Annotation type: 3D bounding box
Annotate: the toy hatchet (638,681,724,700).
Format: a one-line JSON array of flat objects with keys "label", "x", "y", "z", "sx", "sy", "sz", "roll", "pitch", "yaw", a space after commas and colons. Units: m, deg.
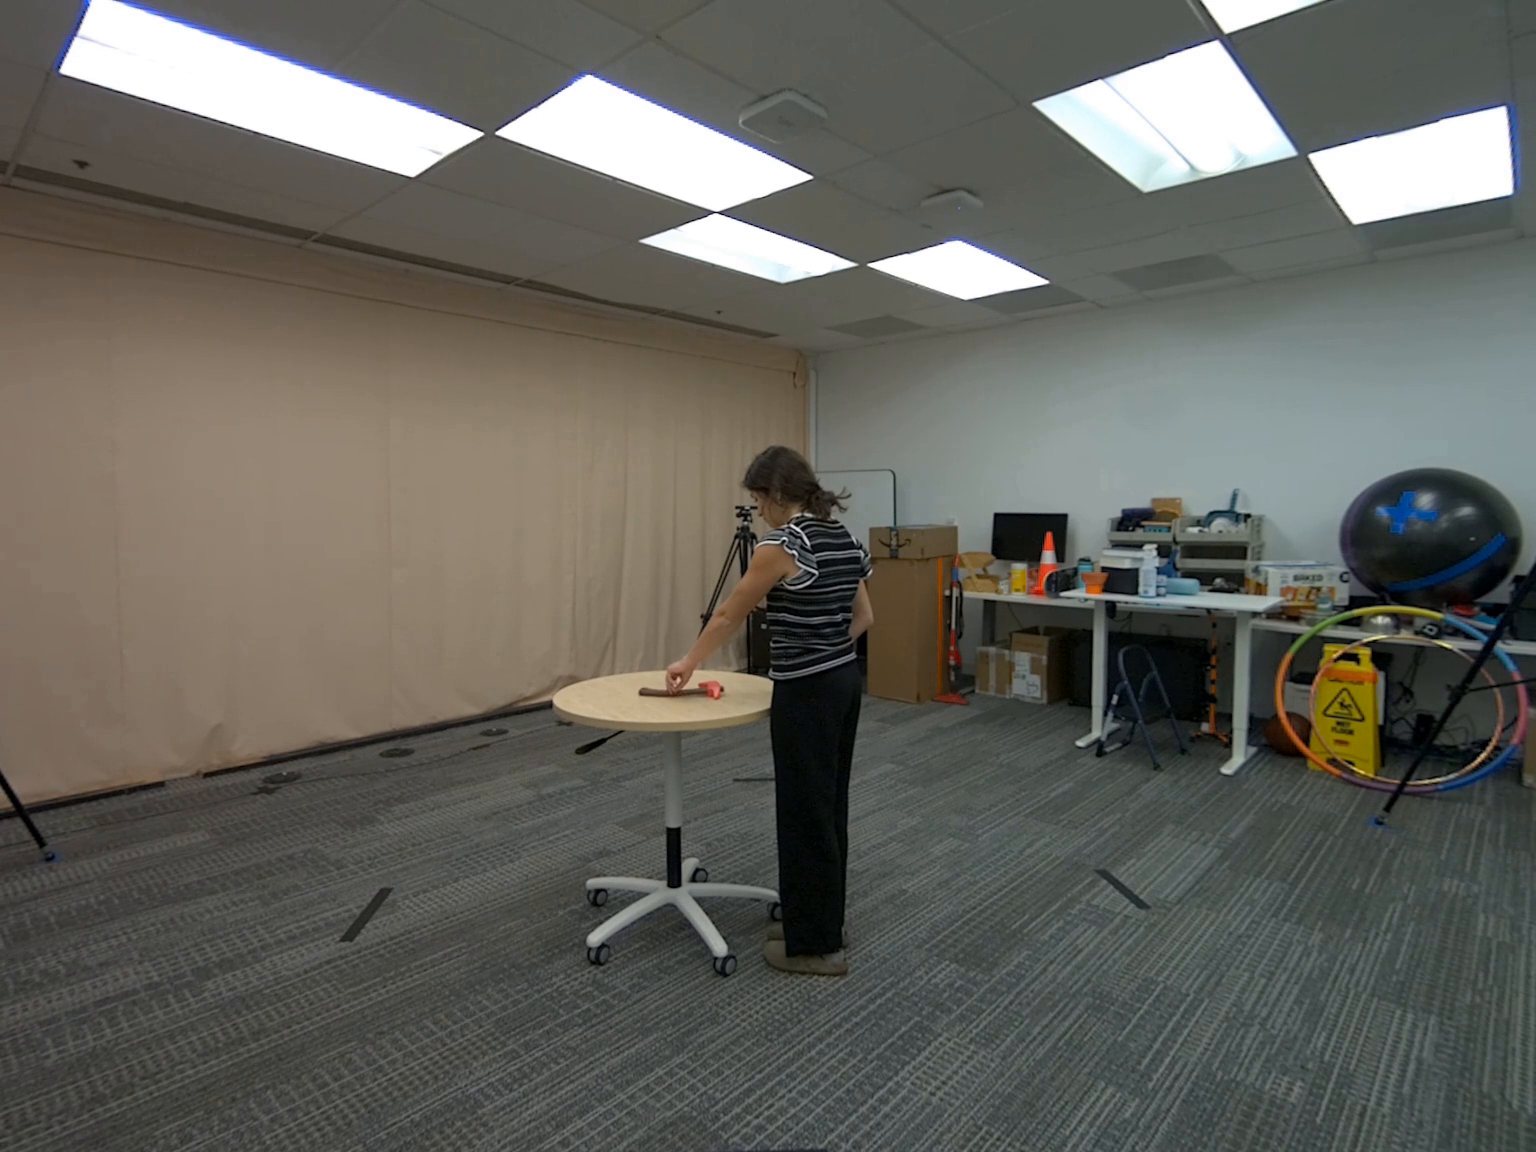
[{"label": "toy hatchet", "x": -0.273, "y": 0.368, "z": 2.733, "sx": 0.275, "sy": 0.029, "sz": 0.130, "roll": 1, "pitch": 16, "yaw": 16}]
